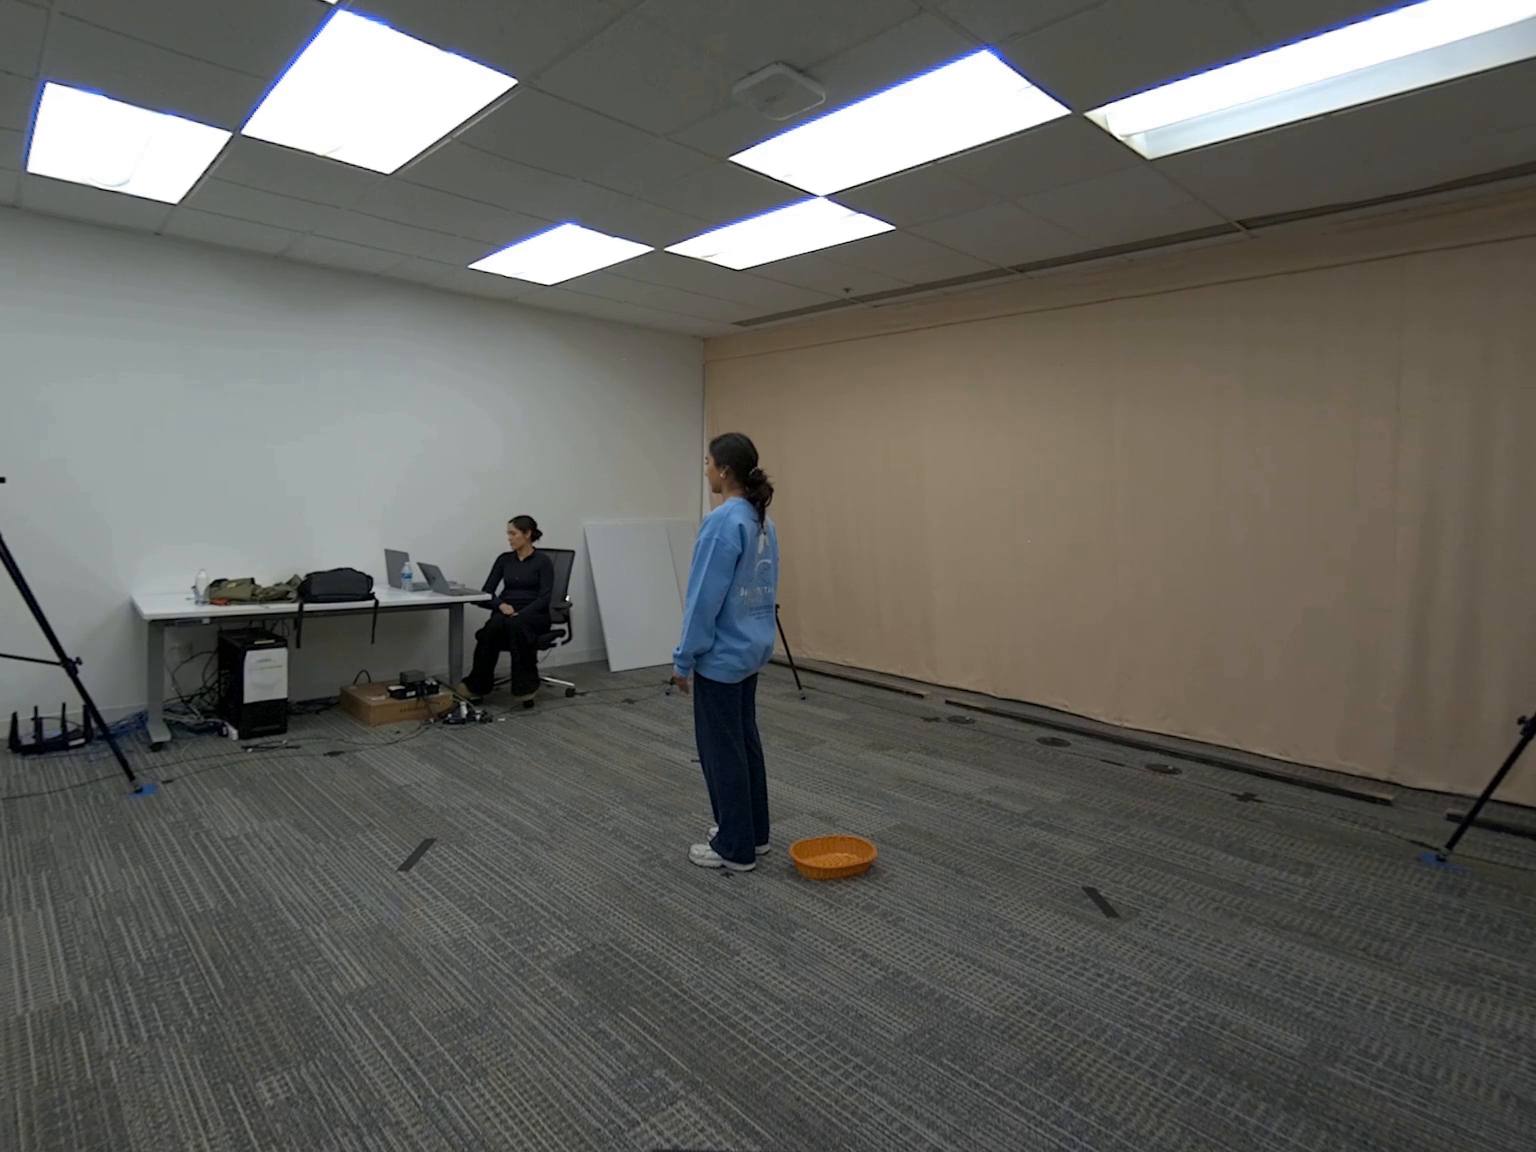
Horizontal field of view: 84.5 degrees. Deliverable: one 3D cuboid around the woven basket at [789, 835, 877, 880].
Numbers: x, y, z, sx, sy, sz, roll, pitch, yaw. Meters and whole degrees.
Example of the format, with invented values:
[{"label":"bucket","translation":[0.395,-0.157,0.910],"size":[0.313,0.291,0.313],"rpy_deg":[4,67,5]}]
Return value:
[{"label":"woven basket","translation":[0.234,1.066,3.178],"size":[0.344,0.073,0.257],"rpy_deg":[-1,6,-24]}]
